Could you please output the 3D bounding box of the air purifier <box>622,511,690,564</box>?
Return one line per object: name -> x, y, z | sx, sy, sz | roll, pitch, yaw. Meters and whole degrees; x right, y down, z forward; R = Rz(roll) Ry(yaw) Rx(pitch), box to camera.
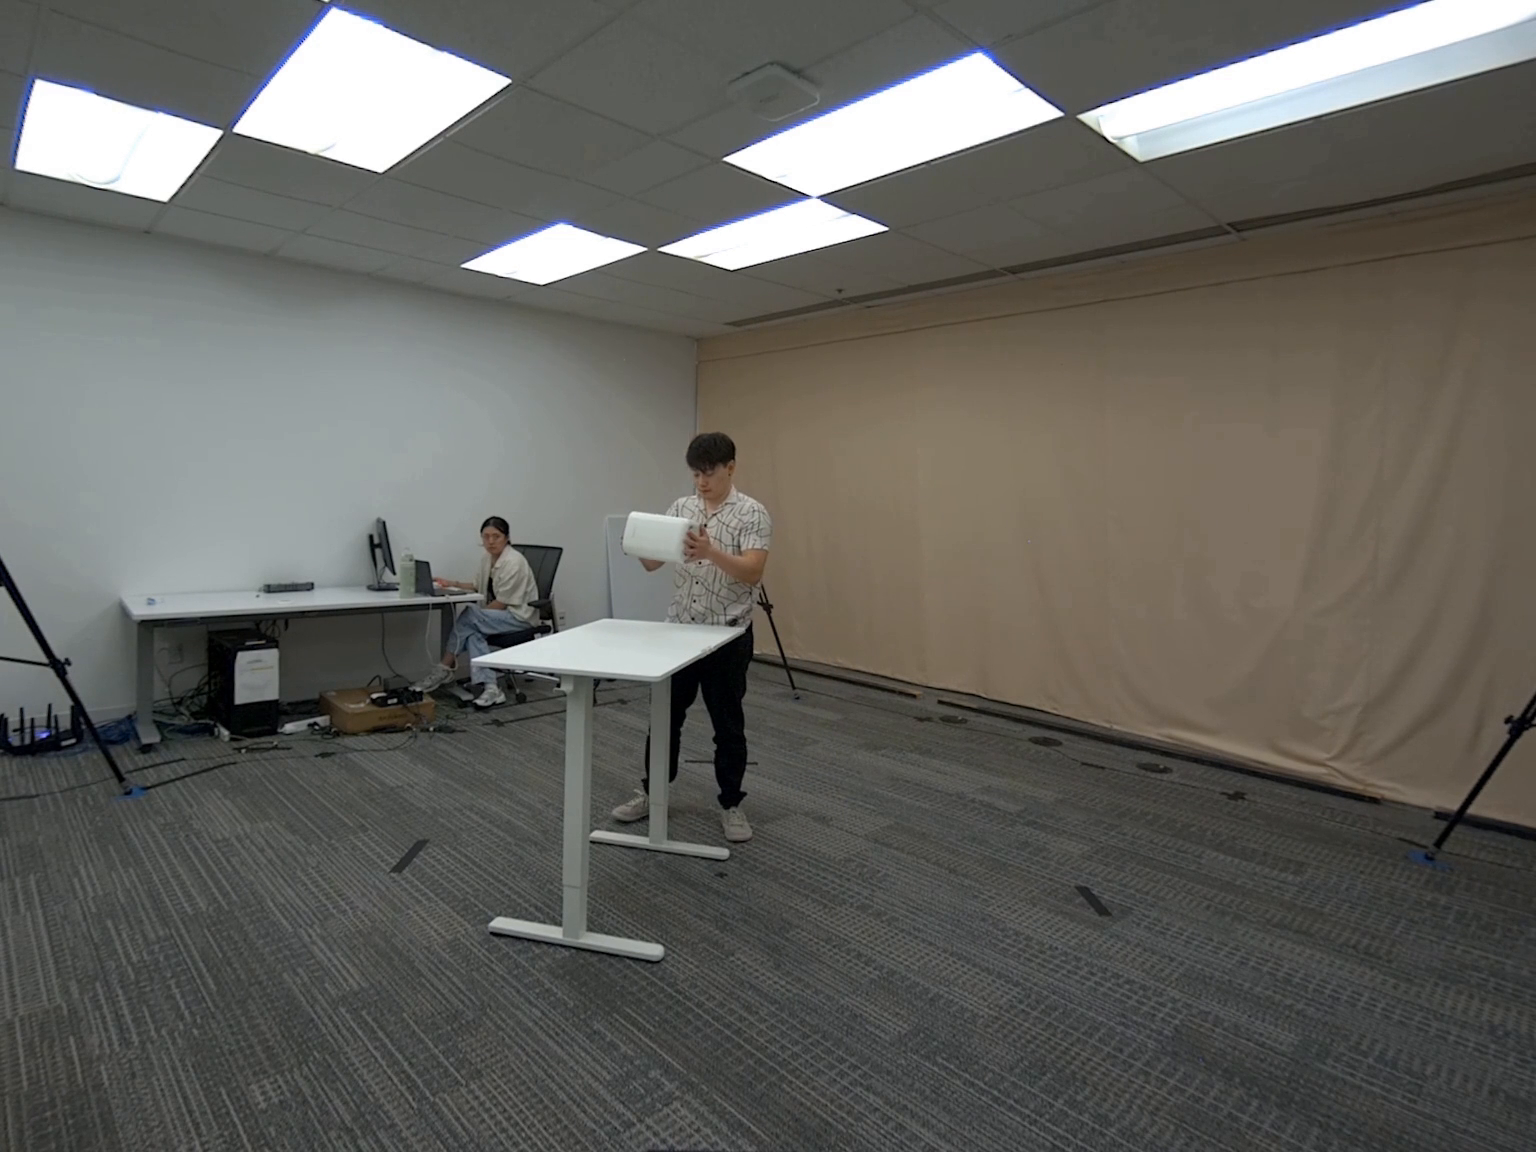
air purifier -> -0.416, -0.147, 3.236 | 0.271, 0.171, 0.168 | 9, -4, 24
